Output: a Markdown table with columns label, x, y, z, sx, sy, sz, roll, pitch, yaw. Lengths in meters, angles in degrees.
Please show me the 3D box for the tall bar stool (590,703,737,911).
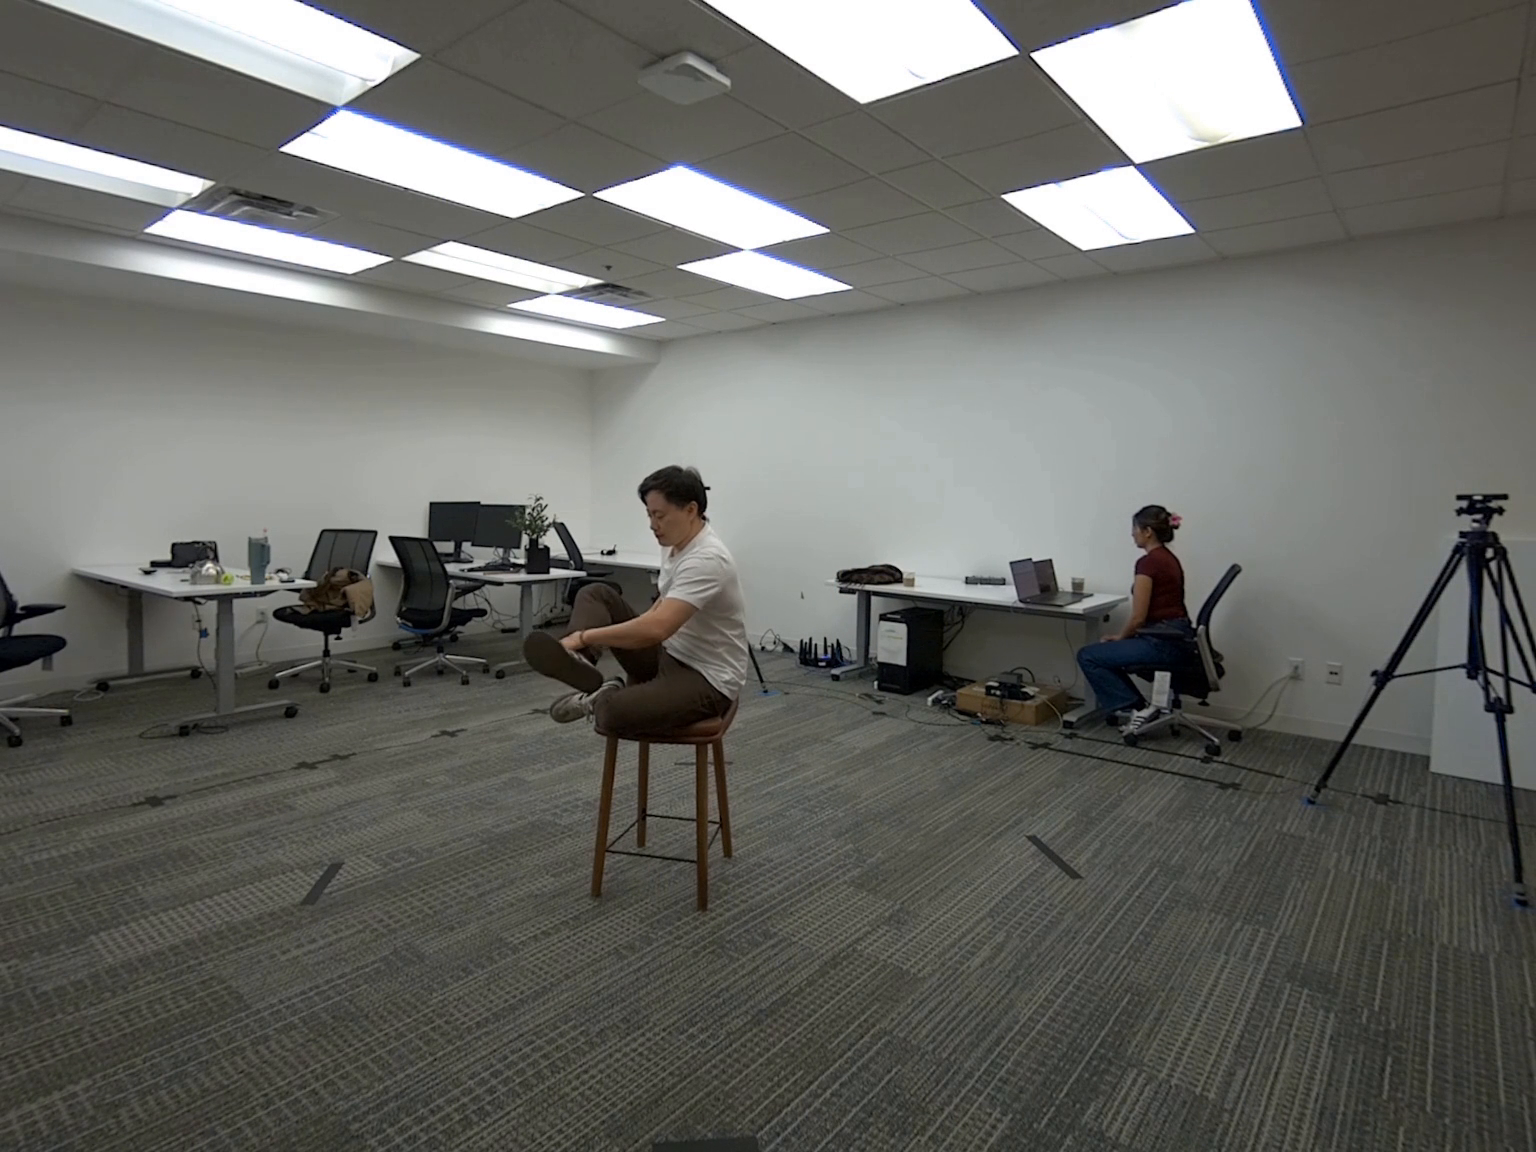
| label | x | y | z | sx | sy | sz | roll | pitch | yaw |
| --- | --- | --- | --- | --- | --- | --- | --- | --- | --- |
| tall bar stool | -0.361 | 0.638 | 3.042 | 0.464 | 0.889 | 0.460 | 2 | 1 | 14 |
